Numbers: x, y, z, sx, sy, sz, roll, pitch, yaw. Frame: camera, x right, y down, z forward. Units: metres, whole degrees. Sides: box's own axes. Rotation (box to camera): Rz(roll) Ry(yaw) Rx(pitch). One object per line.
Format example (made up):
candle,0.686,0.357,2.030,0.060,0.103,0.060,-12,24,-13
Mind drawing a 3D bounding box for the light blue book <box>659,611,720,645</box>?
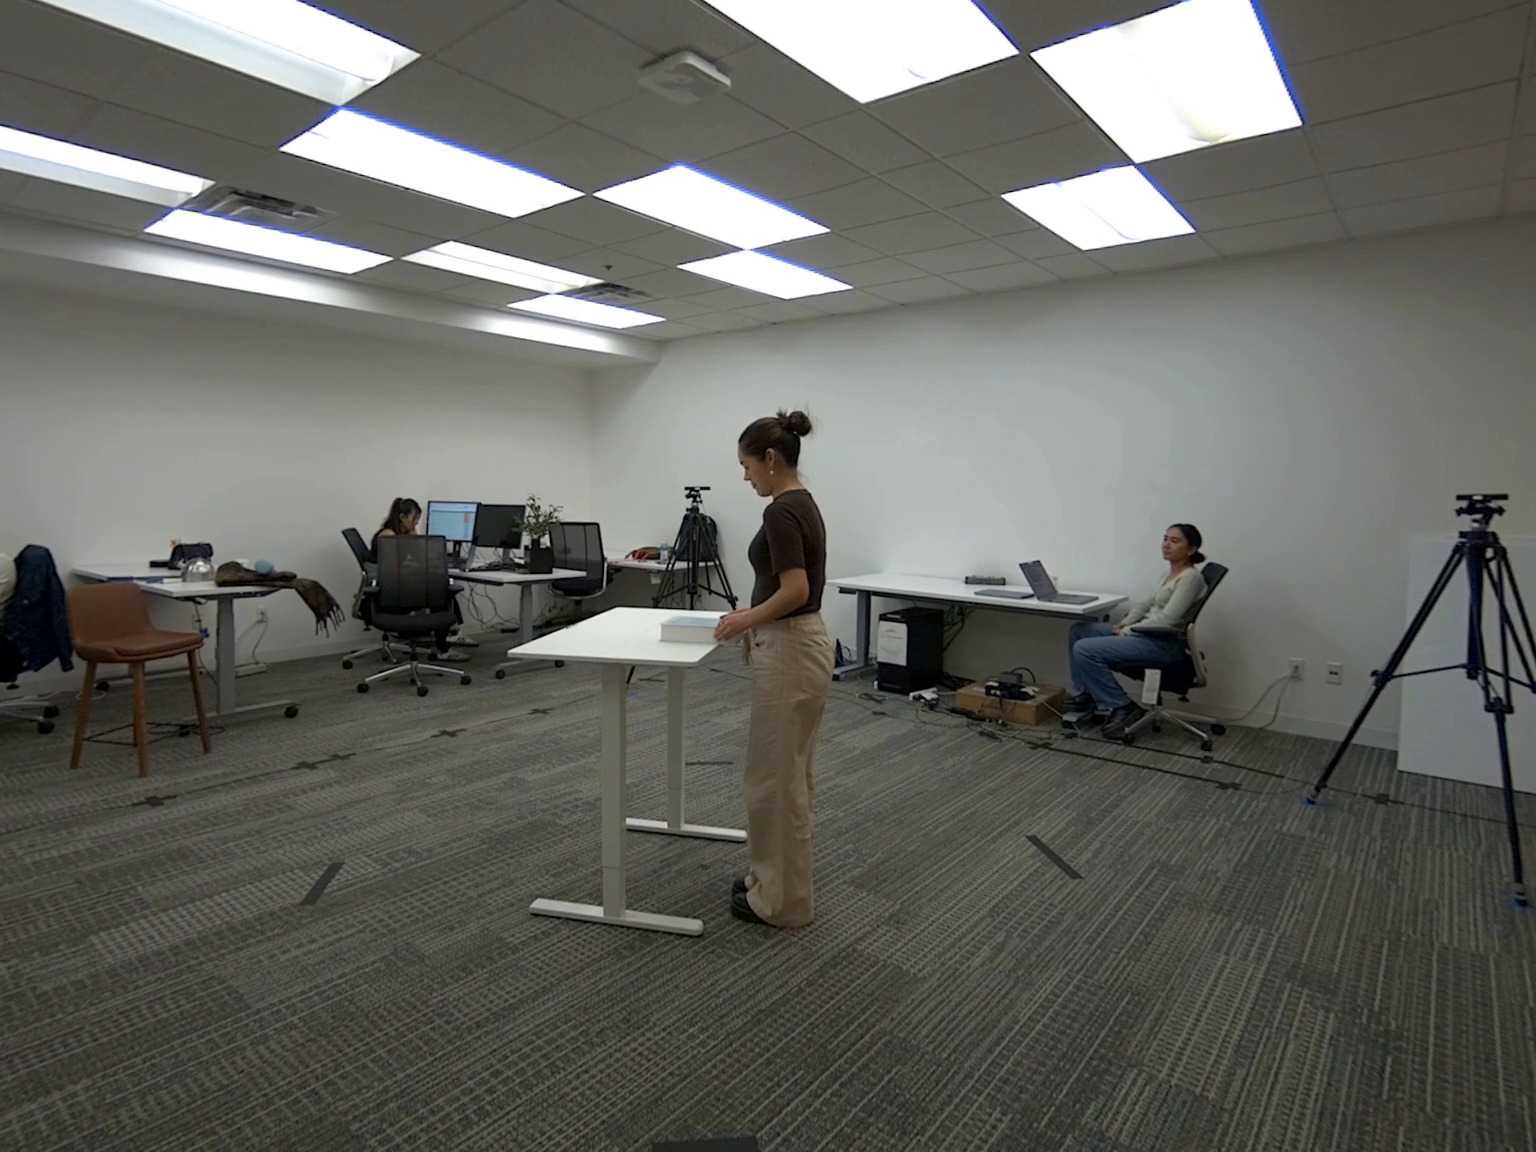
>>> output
light blue book,-0.229,0.182,2.855,0.264,0.059,0.190,3,7,11
